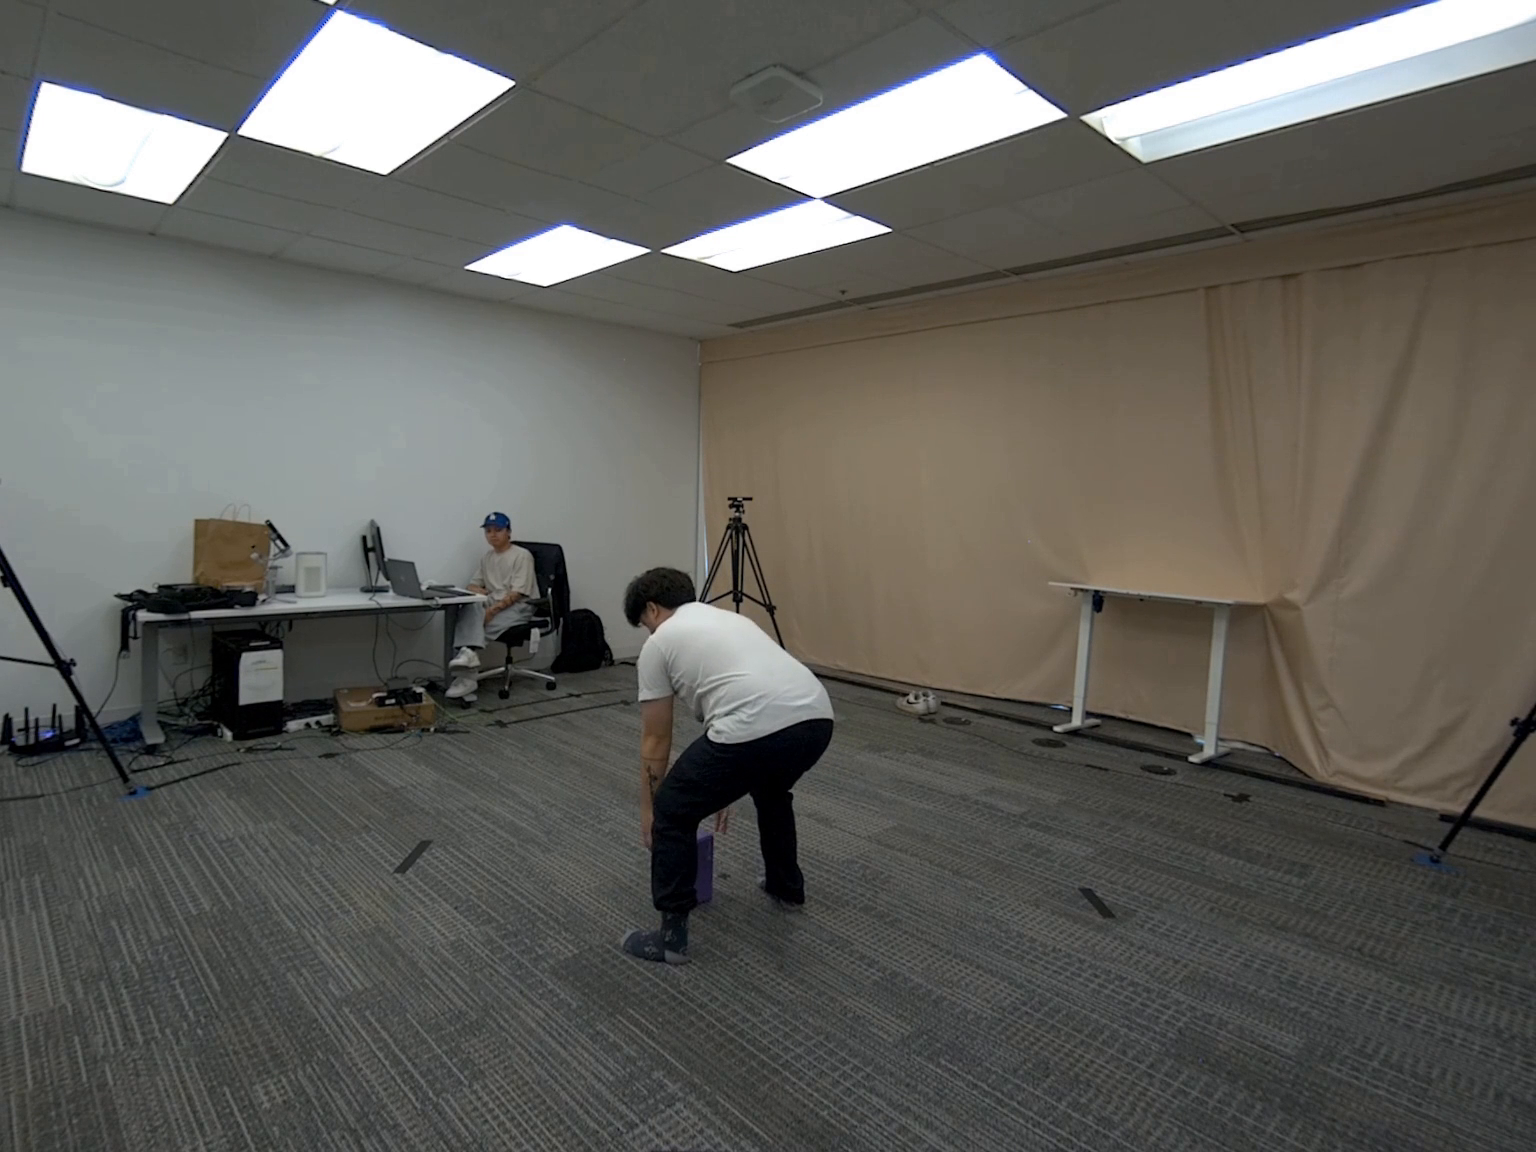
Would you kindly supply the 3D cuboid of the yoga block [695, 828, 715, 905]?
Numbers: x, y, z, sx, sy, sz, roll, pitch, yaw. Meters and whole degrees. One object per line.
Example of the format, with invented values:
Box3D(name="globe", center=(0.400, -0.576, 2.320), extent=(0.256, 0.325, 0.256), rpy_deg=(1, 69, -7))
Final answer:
Box3D(name="yoga block", center=(-0.267, 1.004, 2.896), extent=(0.145, 0.229, 0.078), rpy_deg=(-2, 3, -43))
